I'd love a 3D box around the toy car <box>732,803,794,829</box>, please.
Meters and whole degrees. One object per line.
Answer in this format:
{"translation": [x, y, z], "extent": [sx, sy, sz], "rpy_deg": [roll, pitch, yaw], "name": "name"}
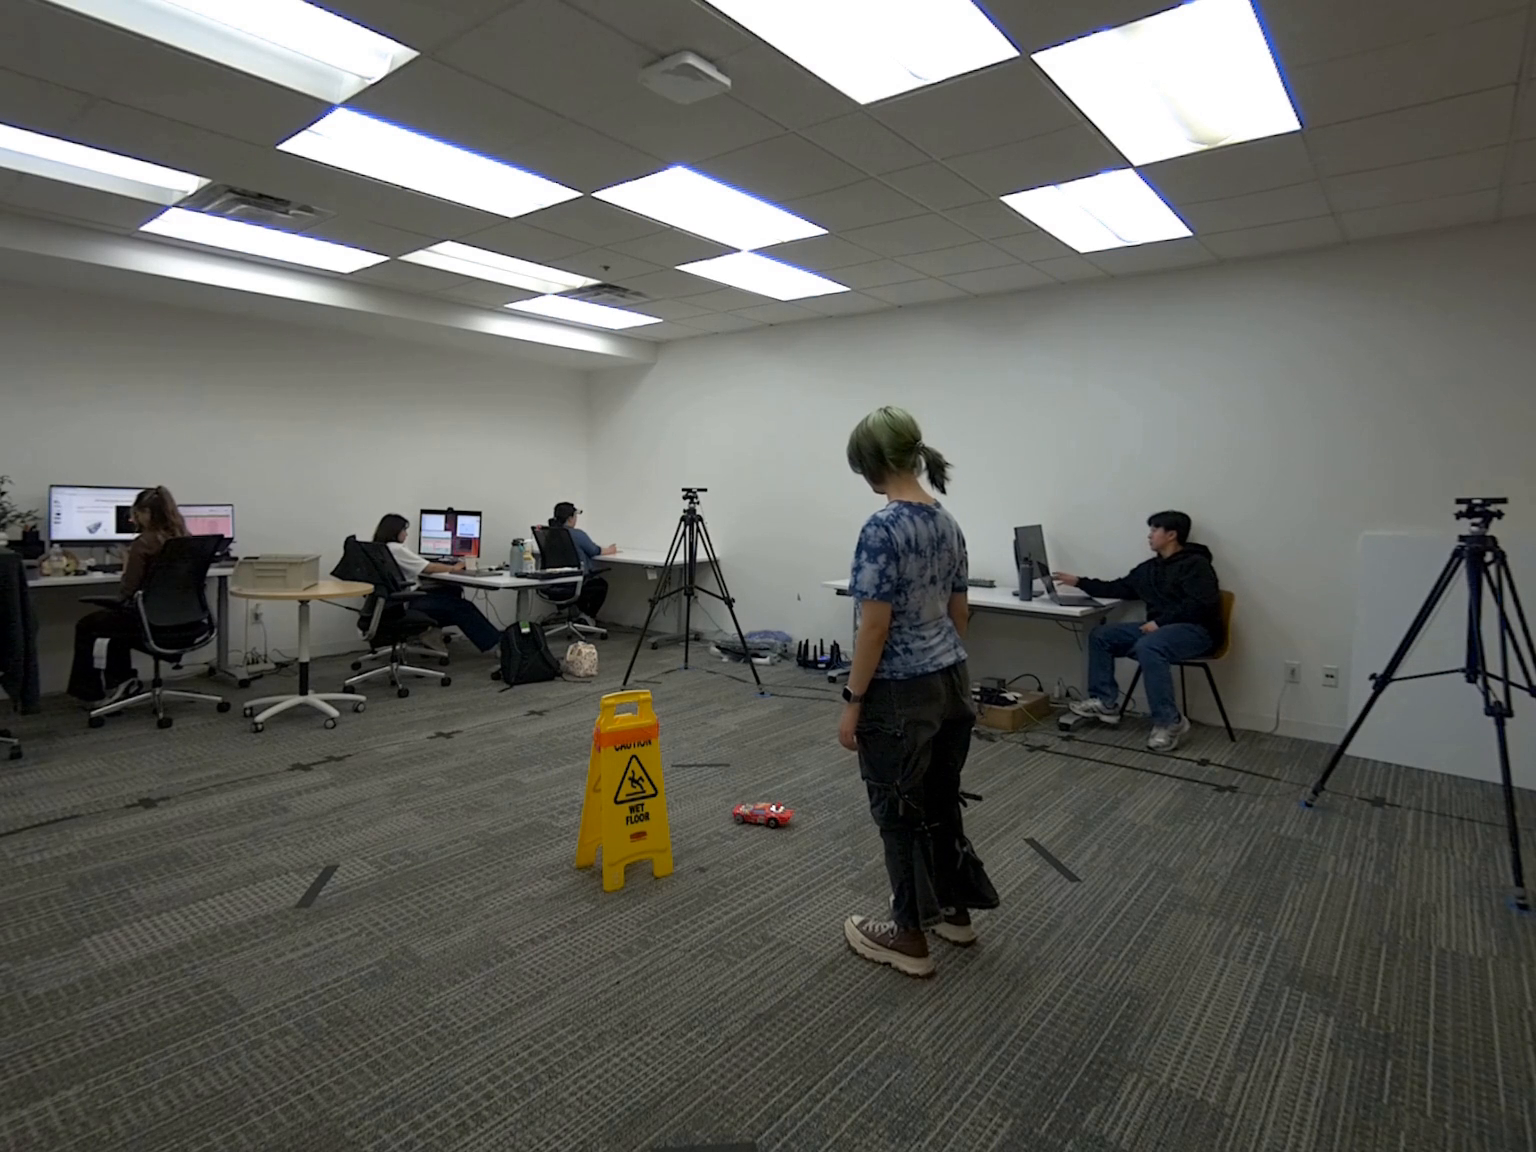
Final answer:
{"translation": [-0.024, 0.998, 3.566], "extent": [0.258, 0.083, 0.128], "rpy_deg": [-8, 2, 16], "name": "toy car"}
